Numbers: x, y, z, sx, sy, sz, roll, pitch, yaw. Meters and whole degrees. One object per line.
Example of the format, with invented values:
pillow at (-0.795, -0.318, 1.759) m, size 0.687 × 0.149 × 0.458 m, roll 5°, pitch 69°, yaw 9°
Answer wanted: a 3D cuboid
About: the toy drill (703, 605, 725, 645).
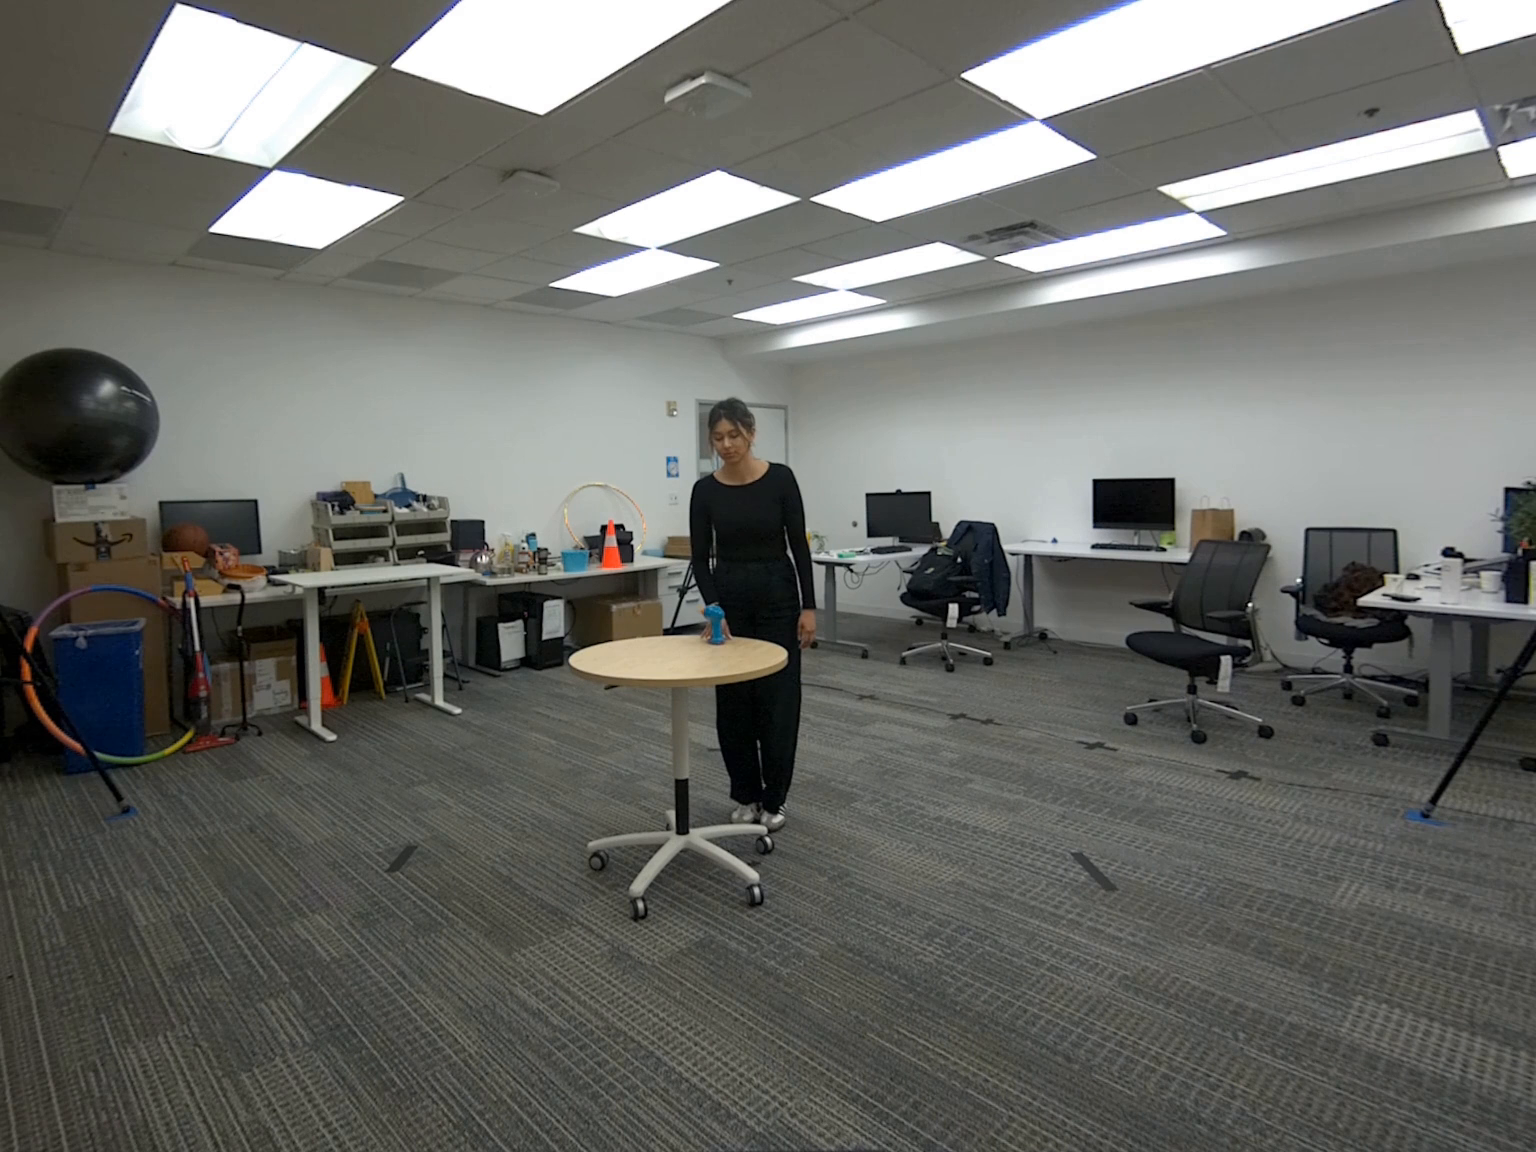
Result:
toy drill at (-0.218, 0.184, 3.238) m, size 0.060 × 0.146 × 0.174 m, roll -5°, pitch 4°, yaw -27°
